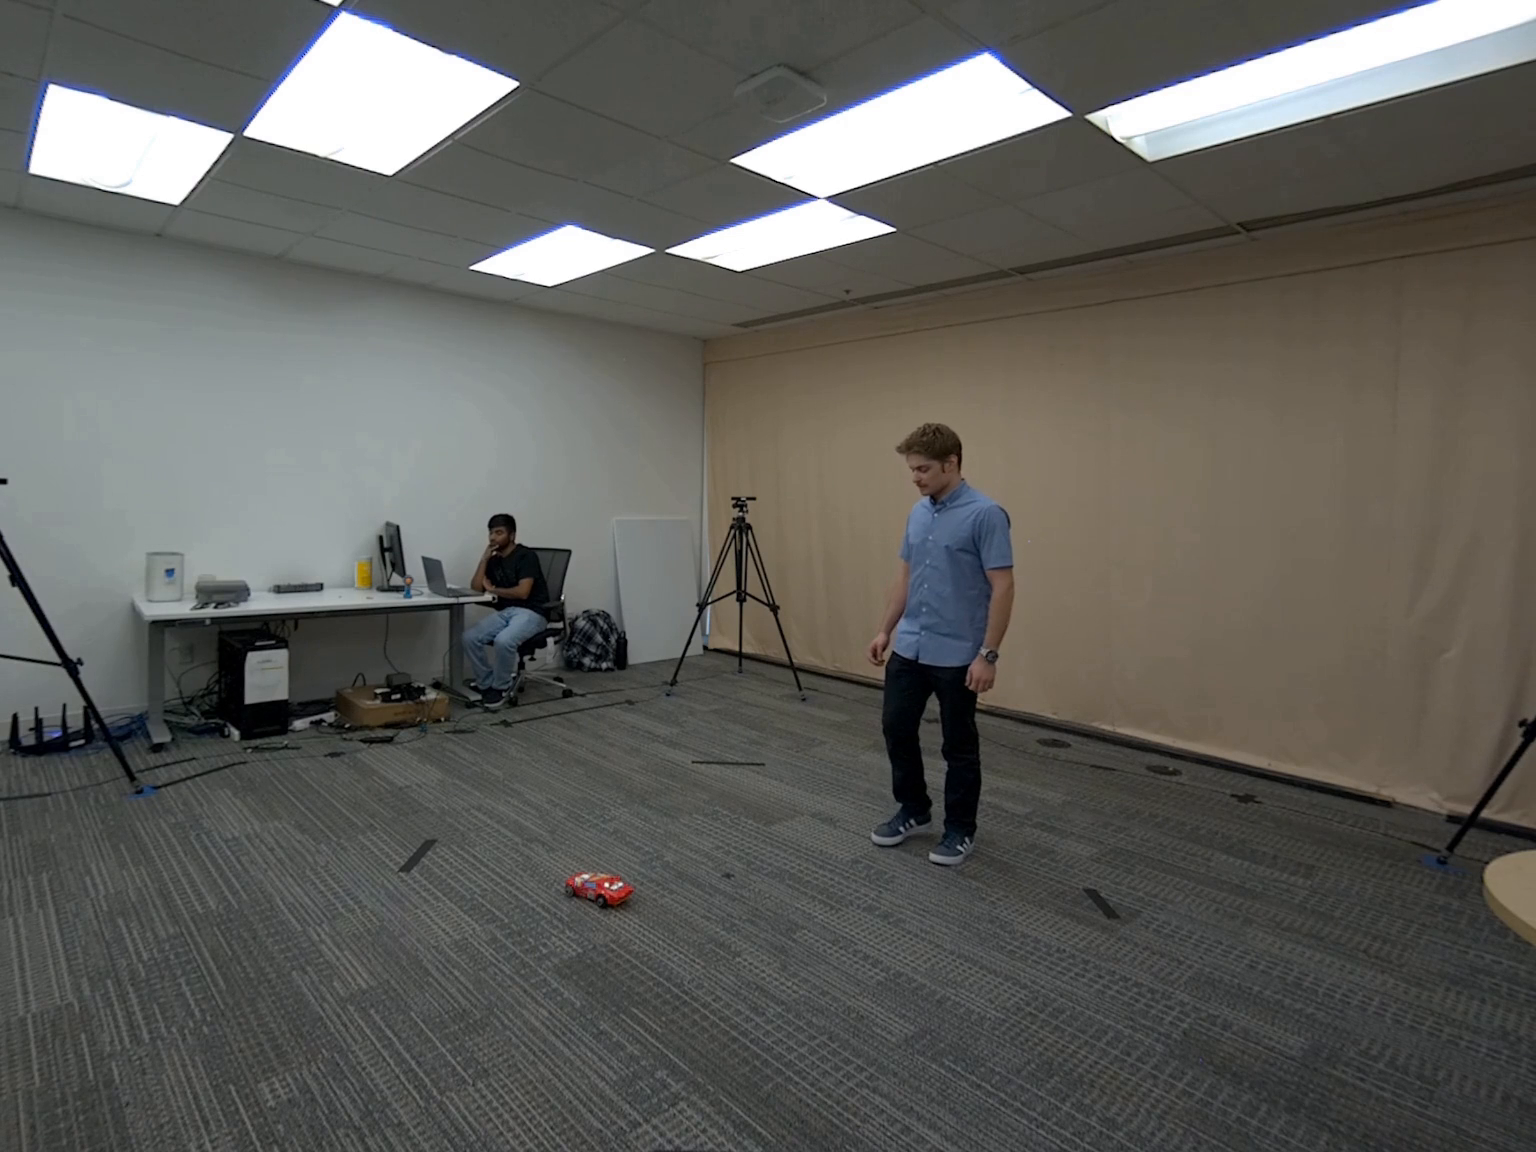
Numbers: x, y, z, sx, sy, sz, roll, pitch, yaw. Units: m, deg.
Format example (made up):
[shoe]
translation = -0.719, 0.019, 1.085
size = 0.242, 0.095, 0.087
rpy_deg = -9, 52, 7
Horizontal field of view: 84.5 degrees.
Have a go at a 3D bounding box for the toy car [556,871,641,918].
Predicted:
[toy car]
translation = -0.584, 1.088, 2.904
size = 0.259, 0.083, 0.128
rpy_deg = -8, -1, 33
